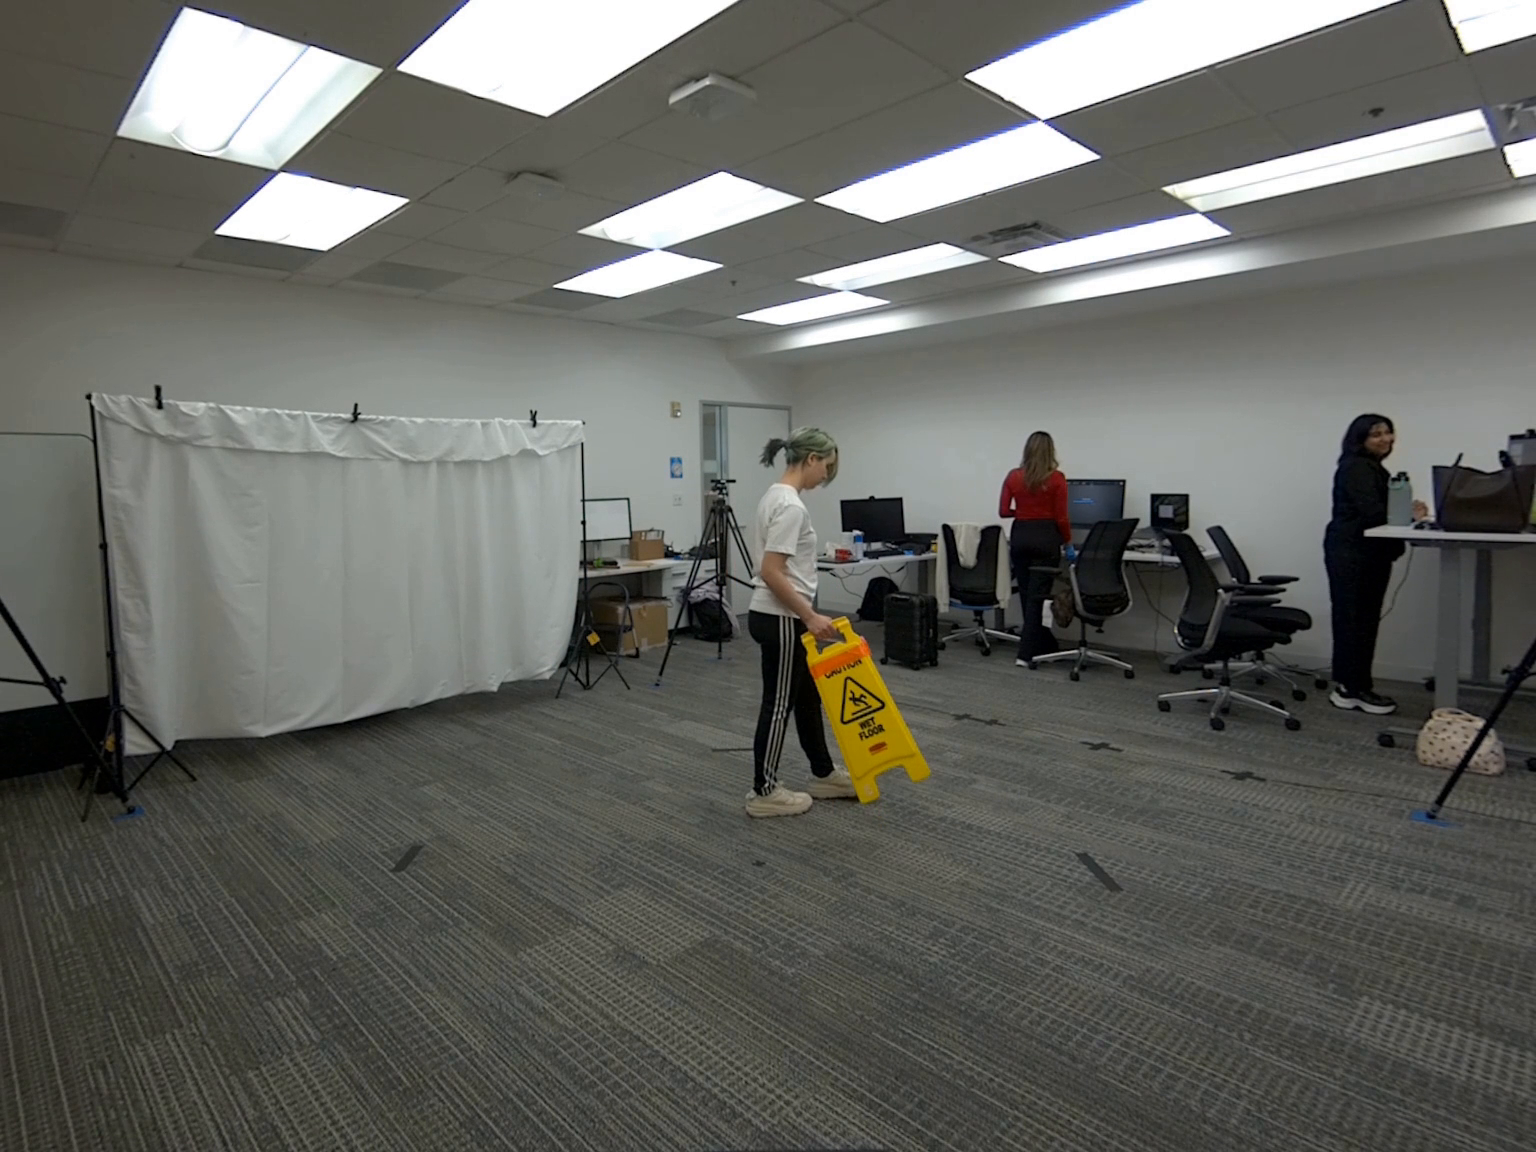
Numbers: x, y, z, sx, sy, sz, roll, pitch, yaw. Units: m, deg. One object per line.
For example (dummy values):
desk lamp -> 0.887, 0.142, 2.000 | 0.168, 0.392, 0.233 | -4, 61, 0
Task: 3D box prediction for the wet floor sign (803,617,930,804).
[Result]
wet floor sign -> 0.349, 0.493, 3.295 | 0.283, 0.651, 0.287 | -23, -6, 4
